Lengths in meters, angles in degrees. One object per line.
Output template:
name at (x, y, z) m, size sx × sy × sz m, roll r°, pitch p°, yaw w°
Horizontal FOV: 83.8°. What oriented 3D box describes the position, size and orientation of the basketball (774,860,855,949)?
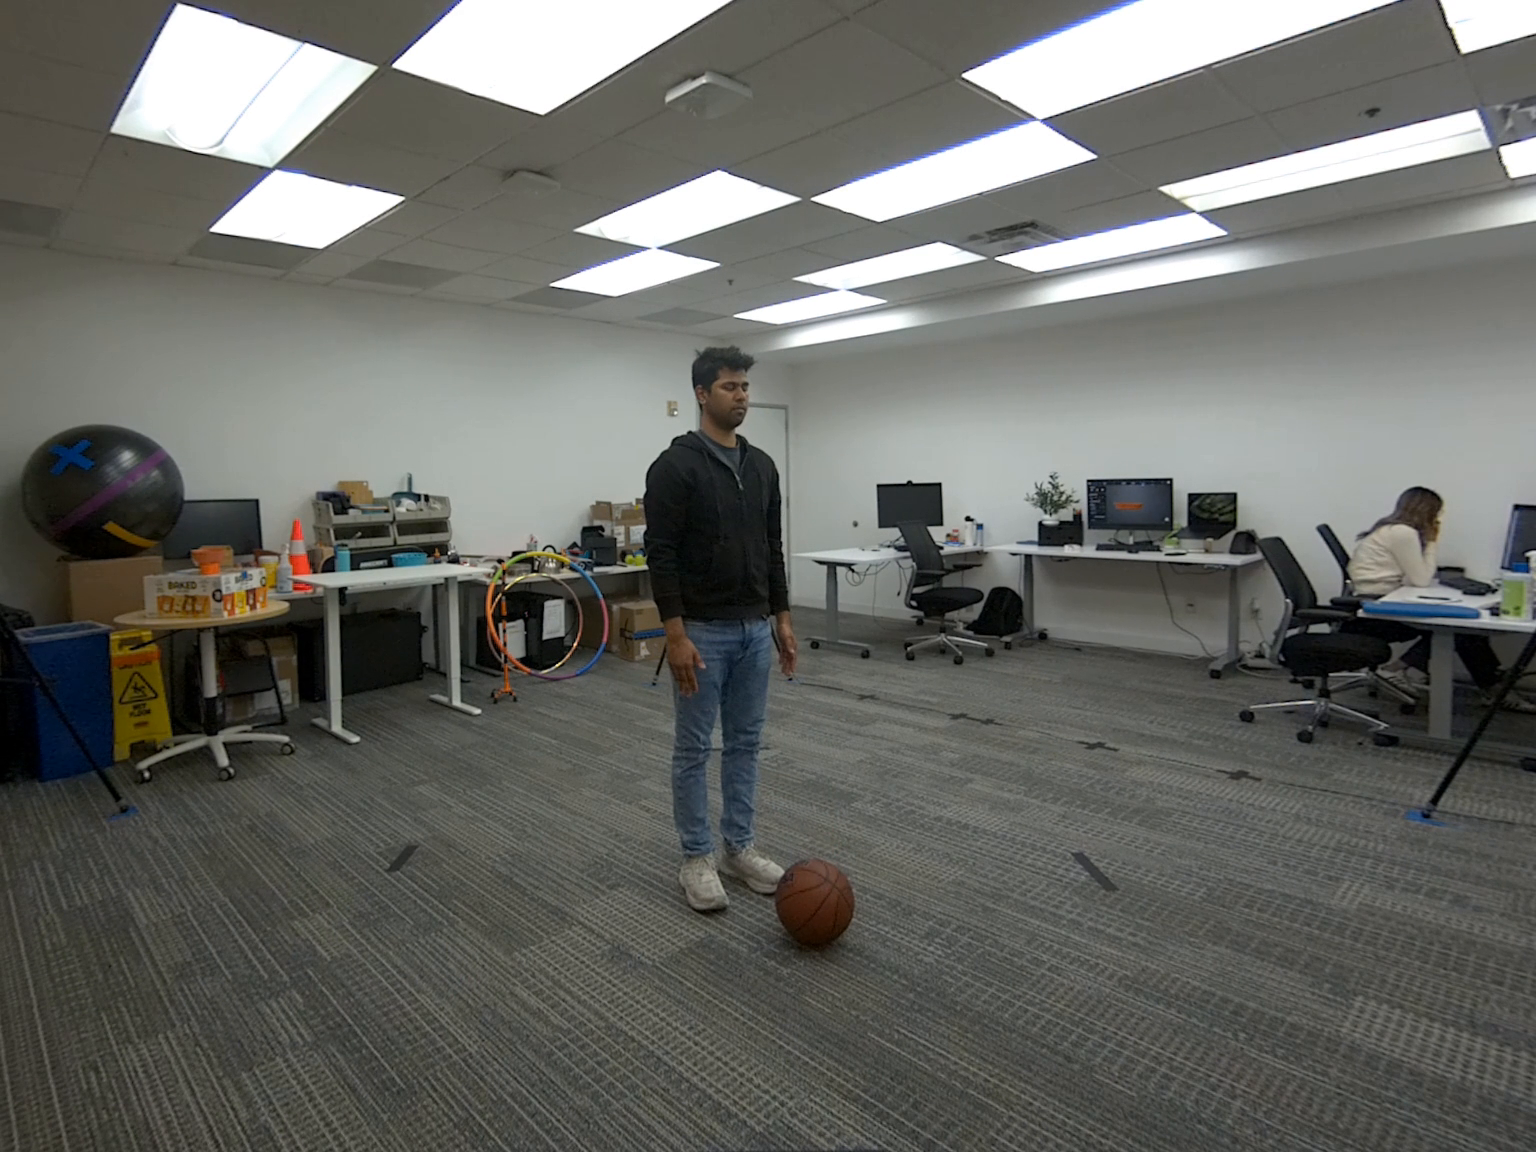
basketball at (0.146, 0.981, 2.578) m, size 0.236 × 0.235 × 0.237 m, roll -1°, pitch 5°, yaw -2°
